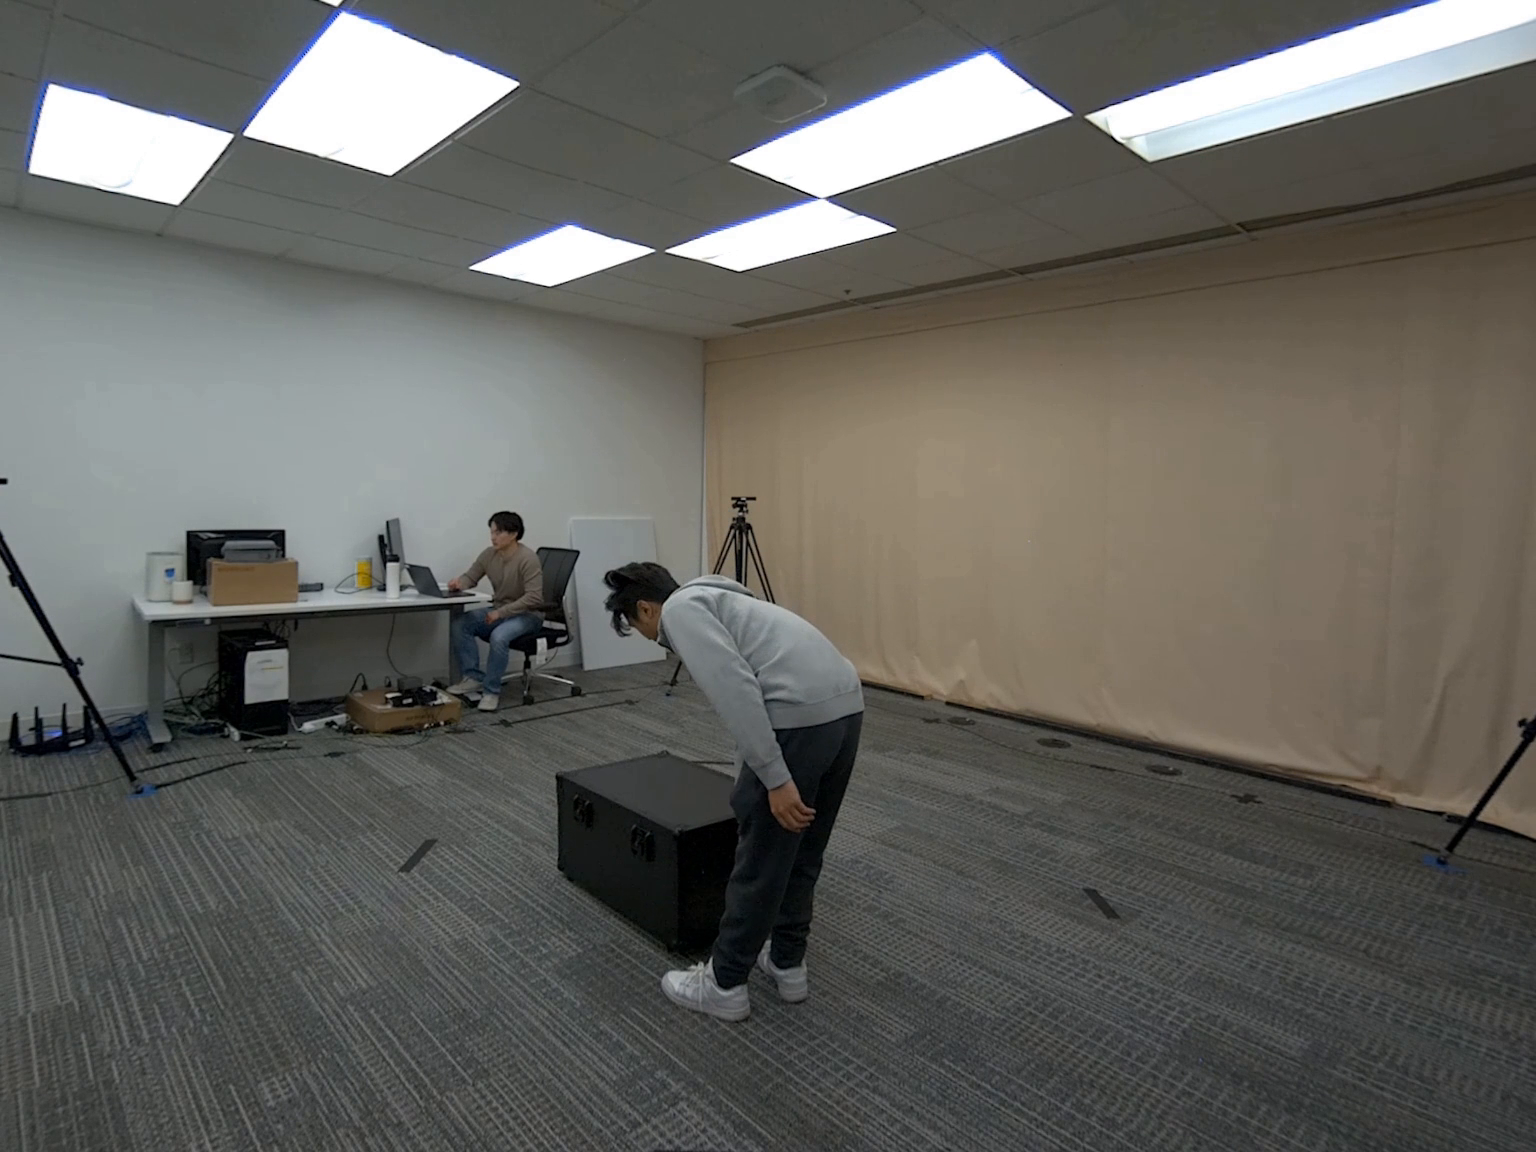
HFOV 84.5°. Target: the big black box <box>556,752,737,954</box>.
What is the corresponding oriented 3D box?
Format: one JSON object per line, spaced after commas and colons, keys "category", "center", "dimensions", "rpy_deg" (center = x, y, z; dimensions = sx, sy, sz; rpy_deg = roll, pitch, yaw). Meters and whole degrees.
{"category": "big black box", "center": [-0.360, 0.914, 2.951], "dimensions": [0.509, 0.395, 0.883], "rpy_deg": [-2, 4, -40]}
